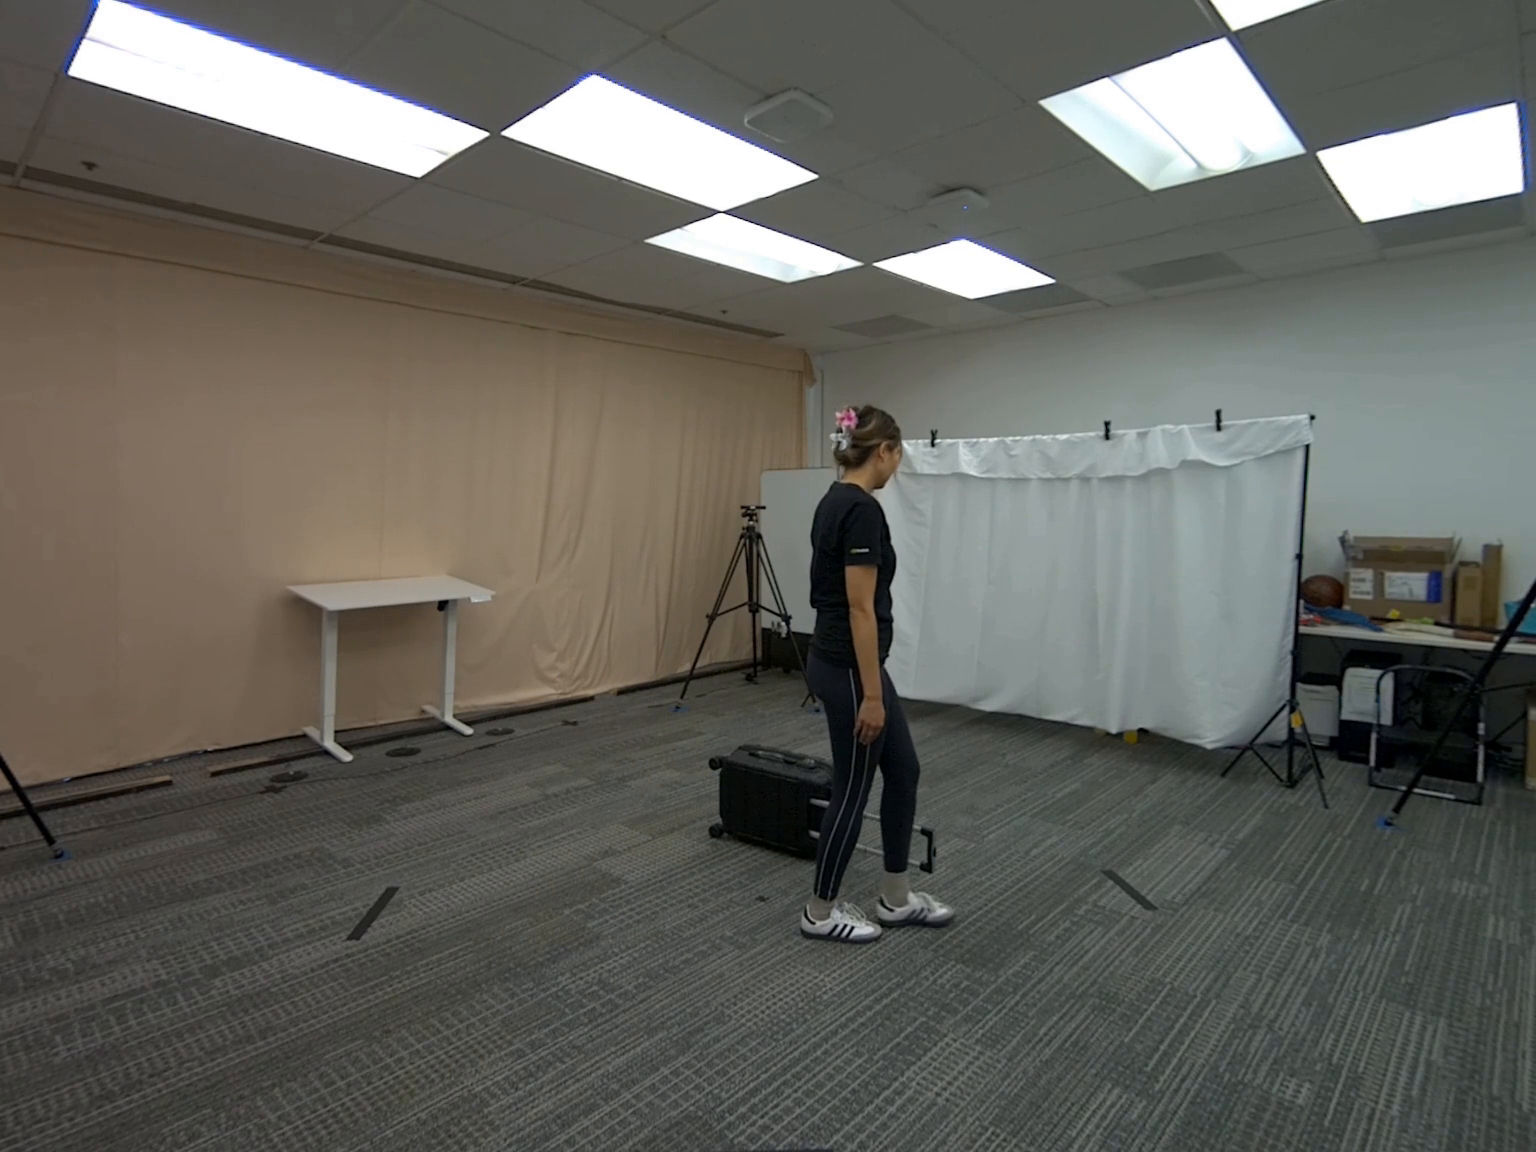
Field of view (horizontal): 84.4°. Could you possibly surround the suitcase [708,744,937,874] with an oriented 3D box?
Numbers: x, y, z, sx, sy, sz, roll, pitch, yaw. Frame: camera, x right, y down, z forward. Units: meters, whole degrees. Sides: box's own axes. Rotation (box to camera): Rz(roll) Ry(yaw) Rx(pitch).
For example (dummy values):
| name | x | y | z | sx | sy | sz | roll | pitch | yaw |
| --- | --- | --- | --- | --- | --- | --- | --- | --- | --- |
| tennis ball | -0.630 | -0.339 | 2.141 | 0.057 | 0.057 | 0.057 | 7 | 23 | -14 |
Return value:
| name | x | y | z | sx | sy | sz | roll | pitch | yaw |
| --- | --- | --- | --- | --- | --- | --- | --- | --- | --- |
| suitcase | 0.222 | 0.926 | 3.352 | 1.009 | 0.383 | 0.250 | 3 | 5 | 34 |
